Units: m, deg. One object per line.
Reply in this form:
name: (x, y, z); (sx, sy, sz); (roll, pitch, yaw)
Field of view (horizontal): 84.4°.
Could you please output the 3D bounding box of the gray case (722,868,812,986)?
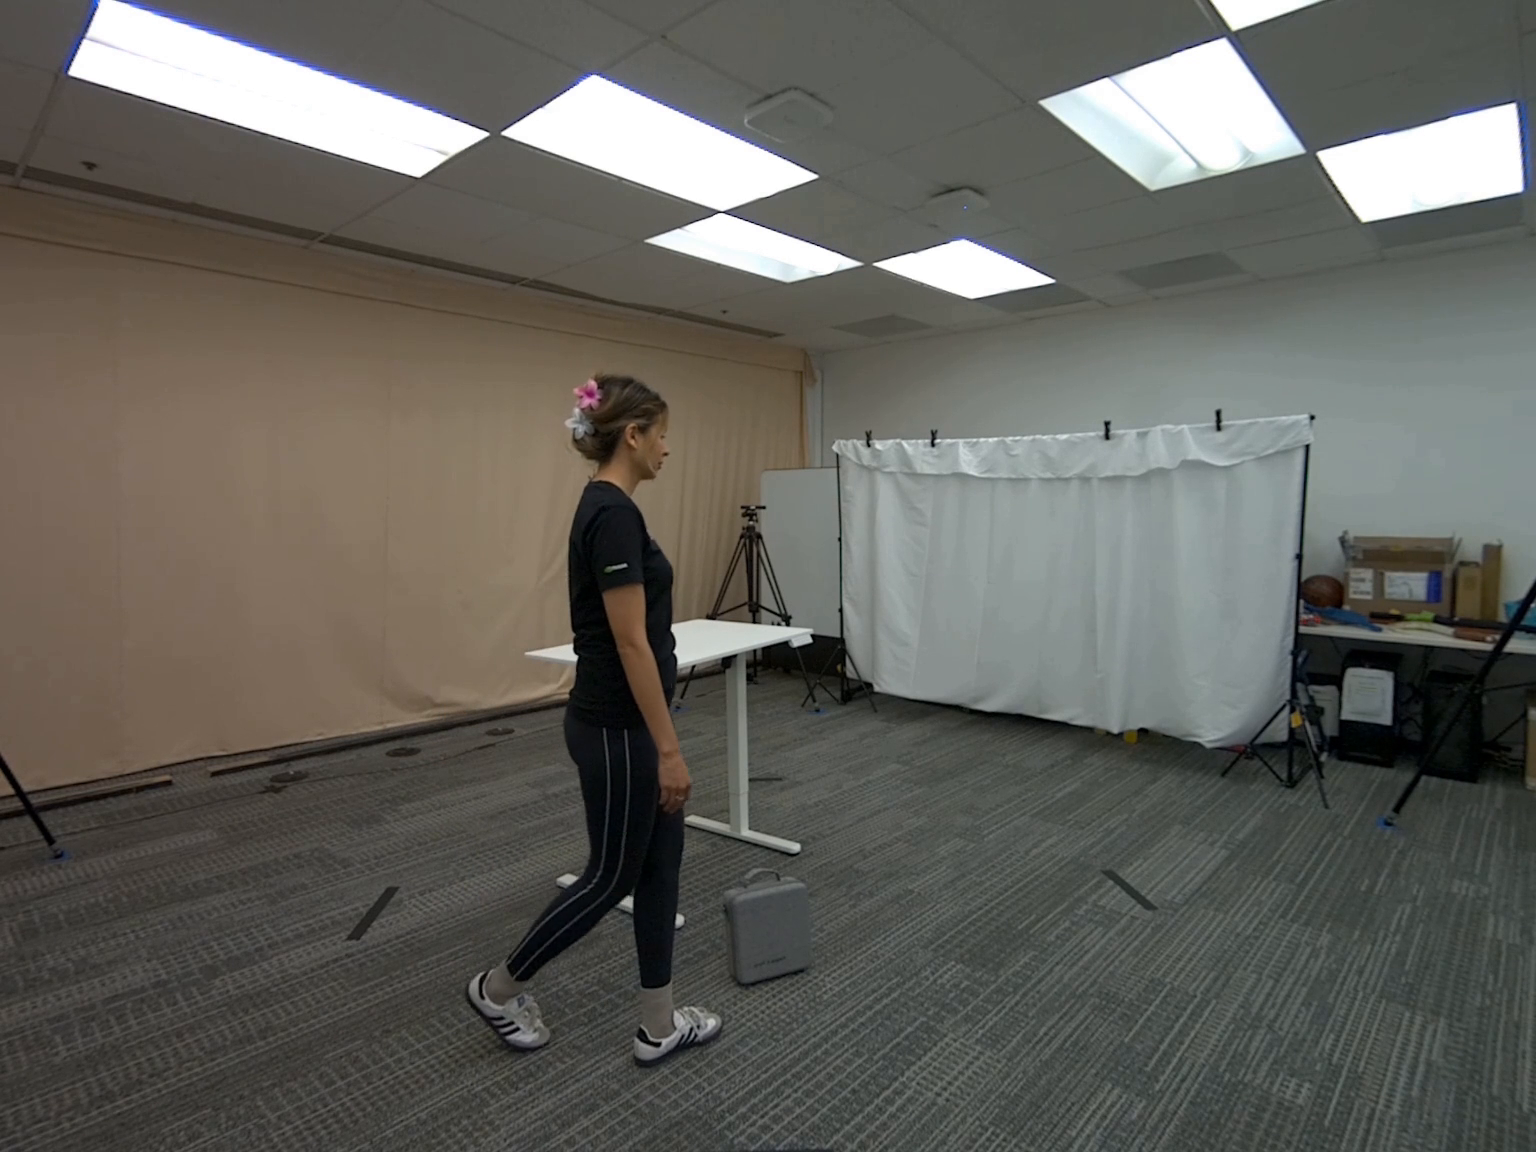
gray case: (0.005, 1.048, 2.517); (0.251, 0.261, 0.106); (-2, -6, -24)
